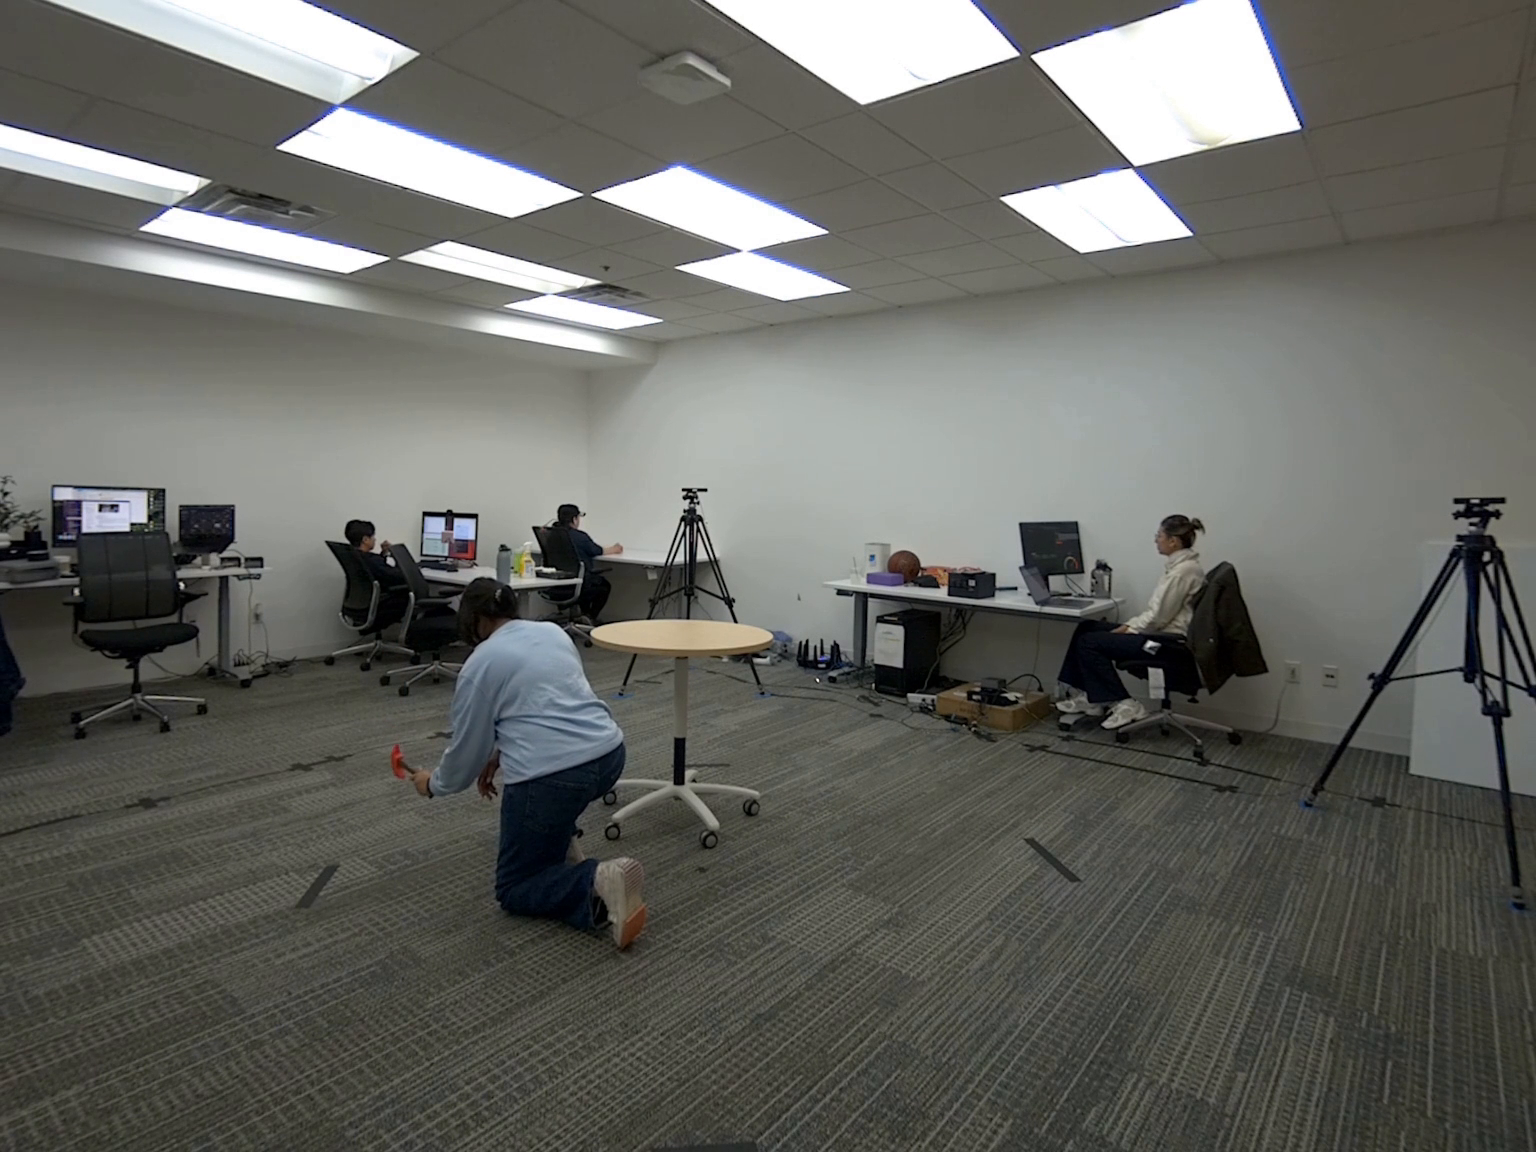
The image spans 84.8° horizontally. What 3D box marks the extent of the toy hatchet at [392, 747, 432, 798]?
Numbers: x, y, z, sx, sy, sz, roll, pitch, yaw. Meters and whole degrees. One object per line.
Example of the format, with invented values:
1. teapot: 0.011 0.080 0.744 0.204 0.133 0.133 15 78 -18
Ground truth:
1. toy hatchet: -1.305 0.724 3.074 0.280 0.130 0.029 36 24 28
